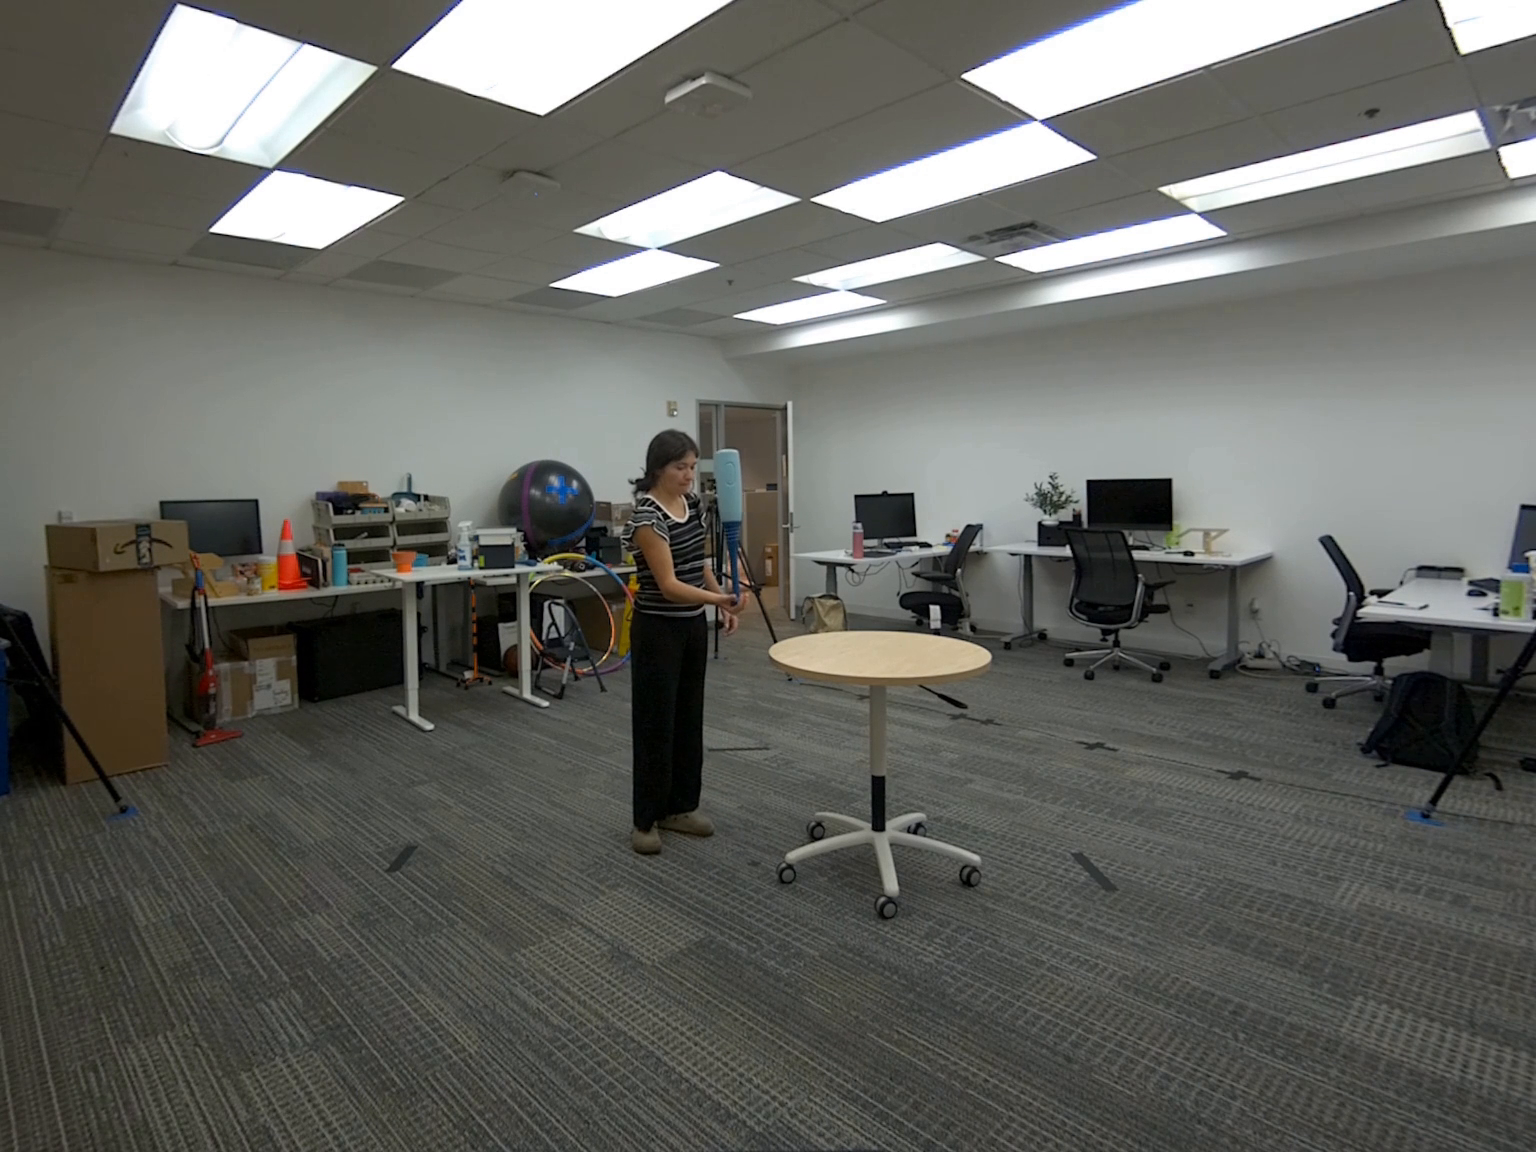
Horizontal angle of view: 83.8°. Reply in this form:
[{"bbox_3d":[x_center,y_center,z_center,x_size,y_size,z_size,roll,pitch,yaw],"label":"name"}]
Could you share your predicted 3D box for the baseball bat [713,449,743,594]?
[{"bbox_3d":[-0.127,-0.166,2.983,0.089,0.543,0.089,-3,0,-2],"label":"baseball bat"}]
